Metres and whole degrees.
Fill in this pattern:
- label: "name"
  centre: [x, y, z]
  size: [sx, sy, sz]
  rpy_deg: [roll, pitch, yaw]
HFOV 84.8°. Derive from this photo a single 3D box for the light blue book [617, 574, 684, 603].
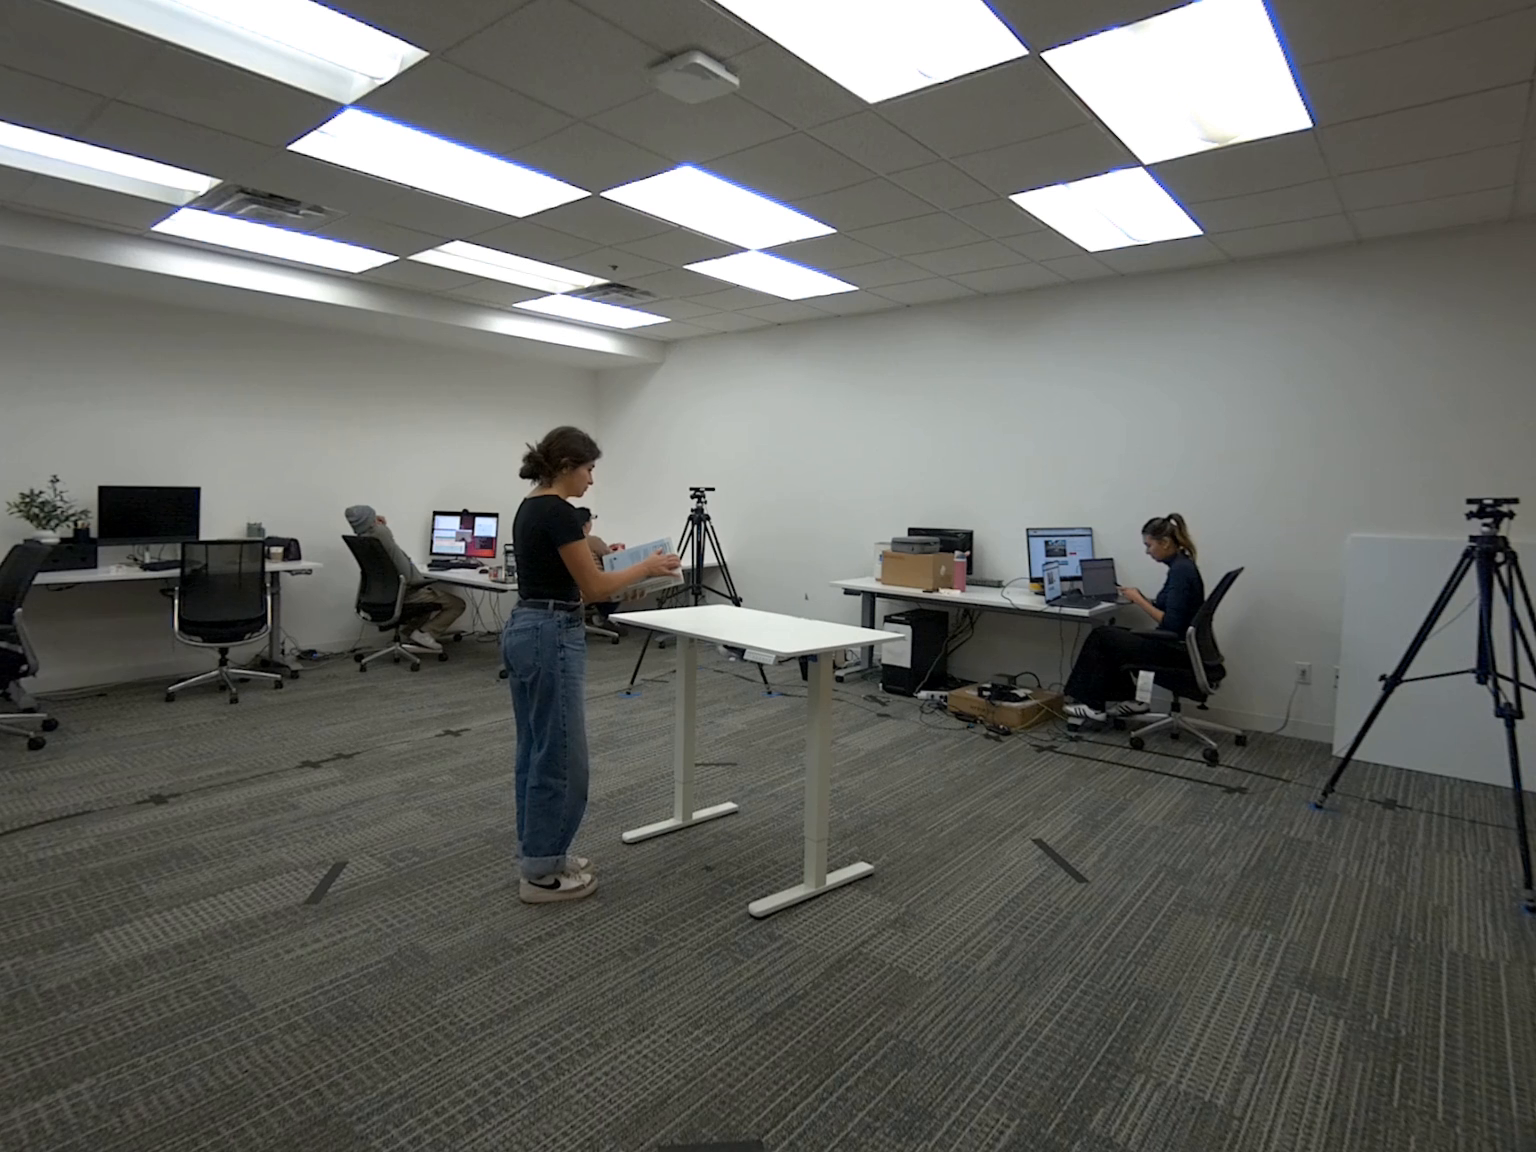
- label: "light blue book"
  centre: [-0.457, -0.023, 3.057]
  size: [0.261, 0.198, 0.057]
  rpy_deg: [-15, -41, -1]
